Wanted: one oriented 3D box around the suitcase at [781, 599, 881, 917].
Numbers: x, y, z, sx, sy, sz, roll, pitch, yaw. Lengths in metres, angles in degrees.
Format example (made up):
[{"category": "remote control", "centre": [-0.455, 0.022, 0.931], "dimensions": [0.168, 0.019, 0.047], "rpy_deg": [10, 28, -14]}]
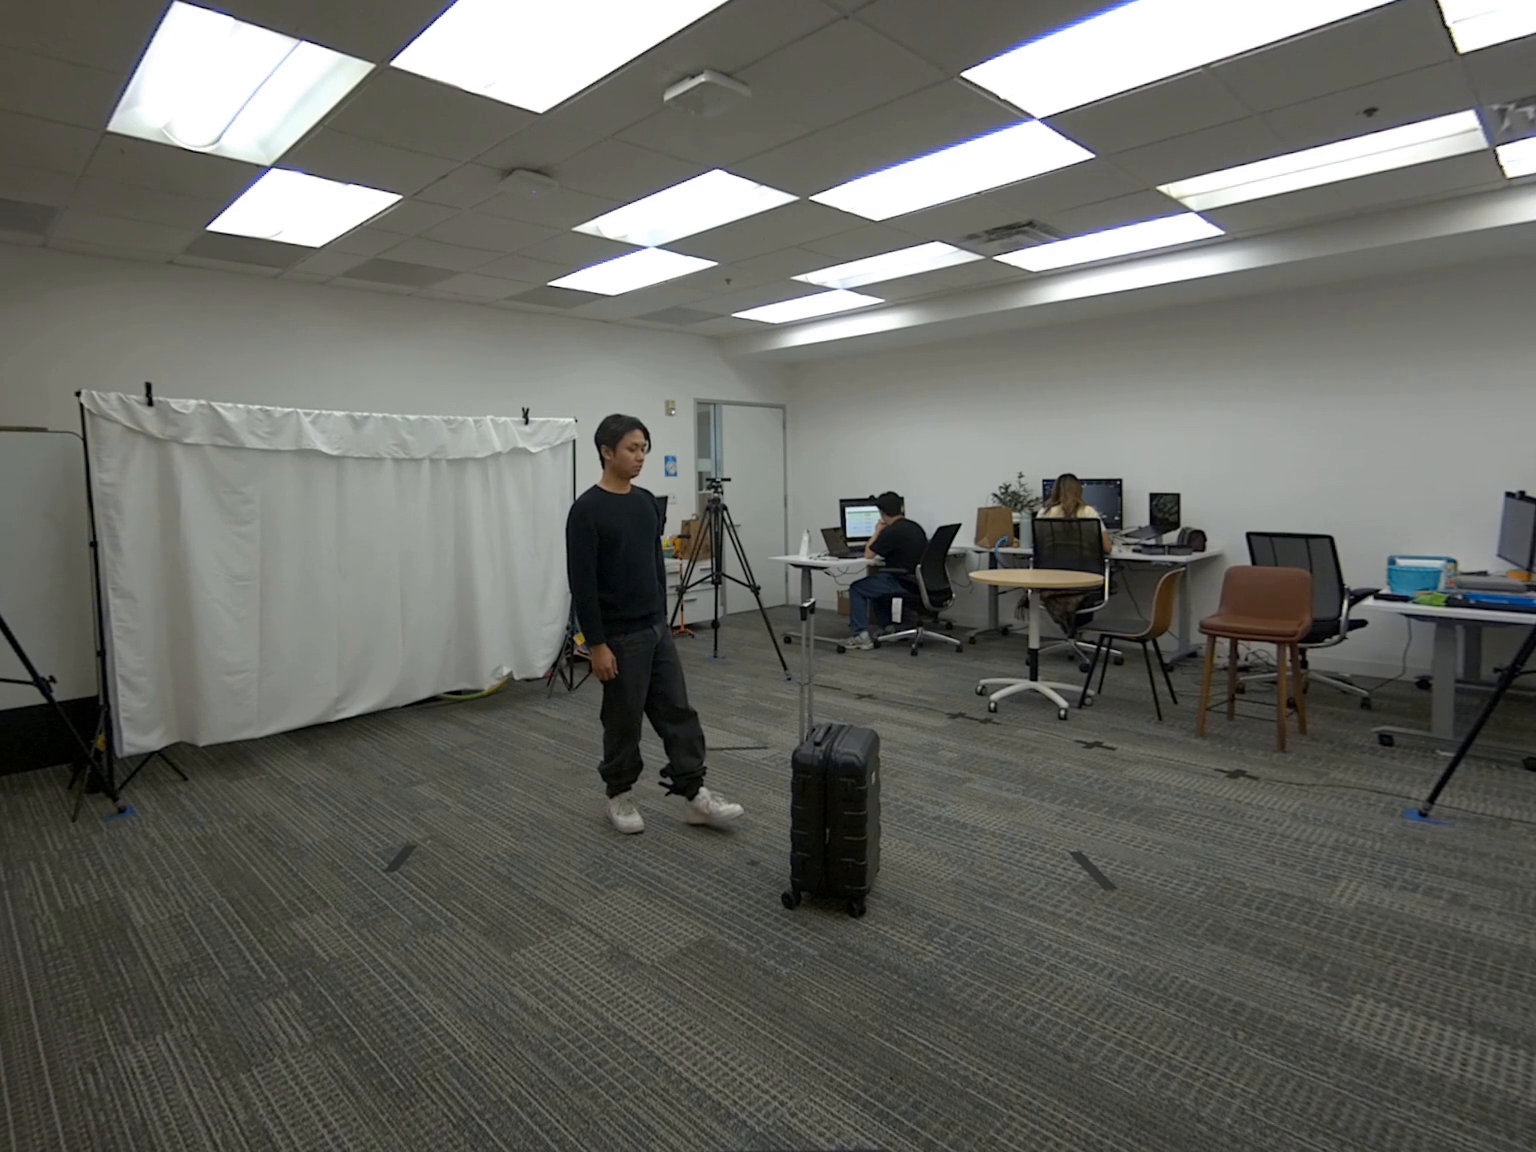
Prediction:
[{"category": "suitcase", "centre": [0.241, 0.590, 2.844], "dimensions": [0.261, 0.973, 0.380], "rpy_deg": [4, 6, 14]}]
